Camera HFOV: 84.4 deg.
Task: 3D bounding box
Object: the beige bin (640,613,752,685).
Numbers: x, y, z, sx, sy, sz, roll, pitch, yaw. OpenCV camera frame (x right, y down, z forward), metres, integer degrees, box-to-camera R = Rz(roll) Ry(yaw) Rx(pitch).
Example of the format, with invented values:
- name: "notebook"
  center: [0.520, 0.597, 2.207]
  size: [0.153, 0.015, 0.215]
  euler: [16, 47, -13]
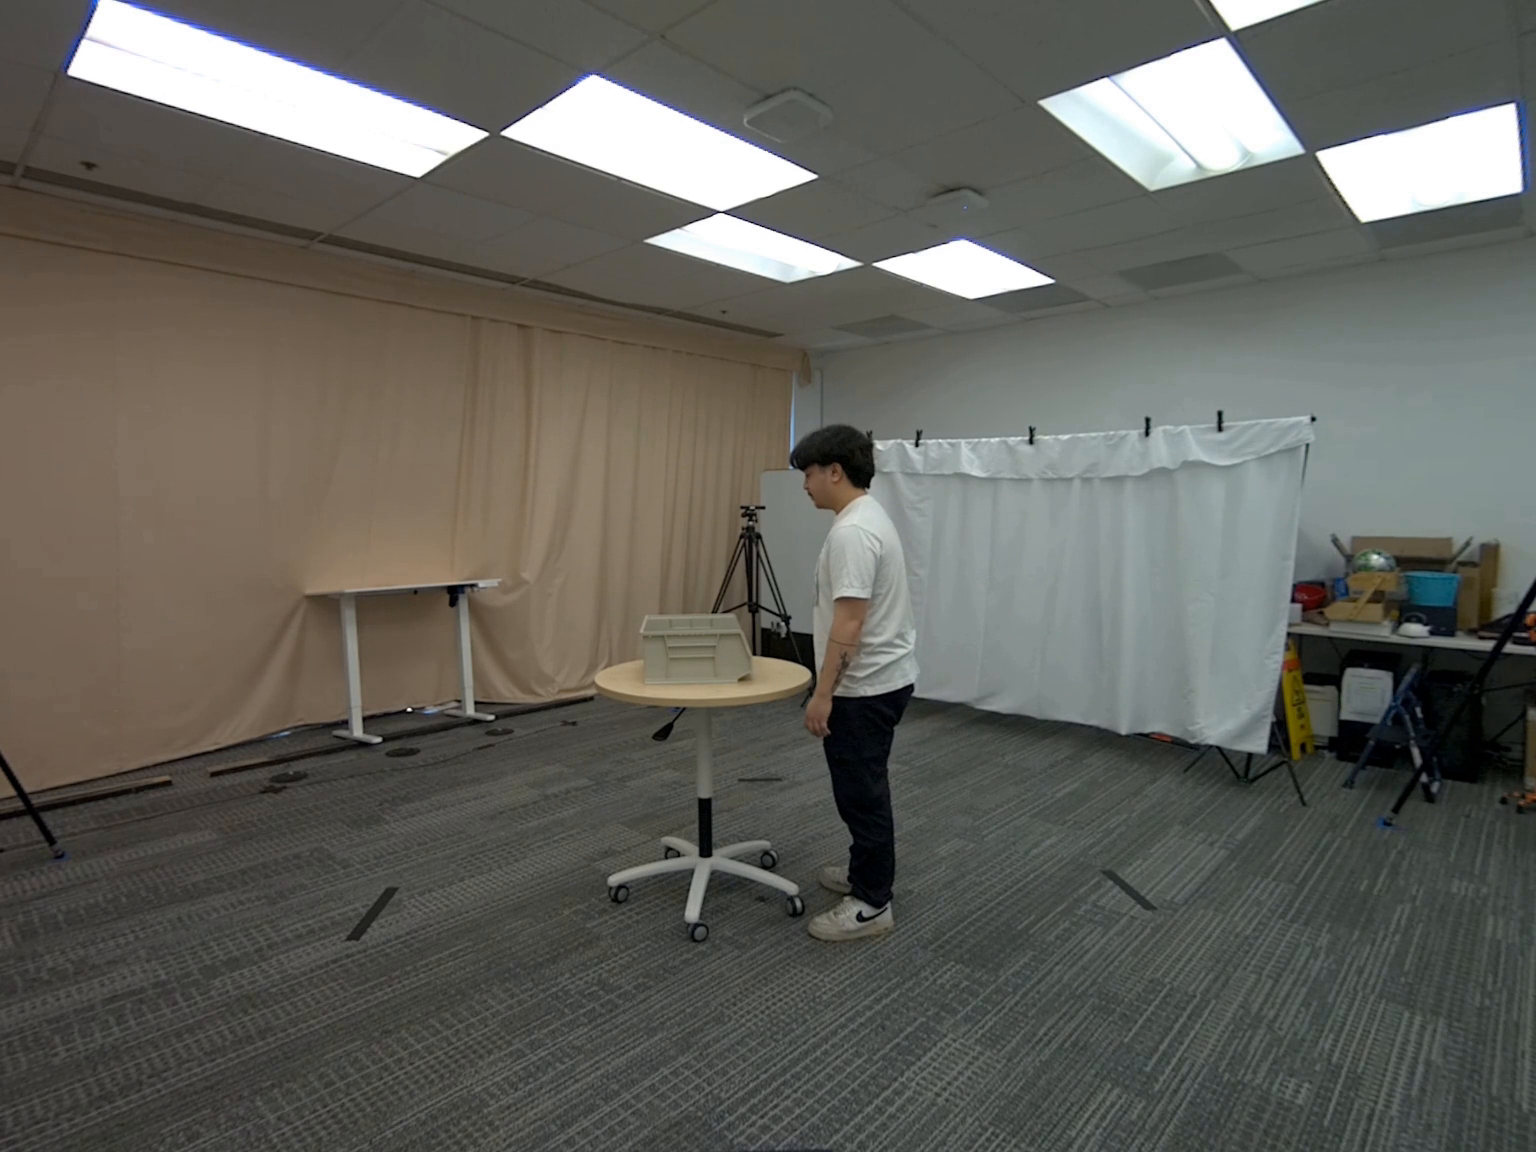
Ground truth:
- name: "beige bin"
  center: [-0.240, 0.265, 3.028]
  size: [0.376, 0.188, 0.425]
  euler: [-1, 5, -4]
